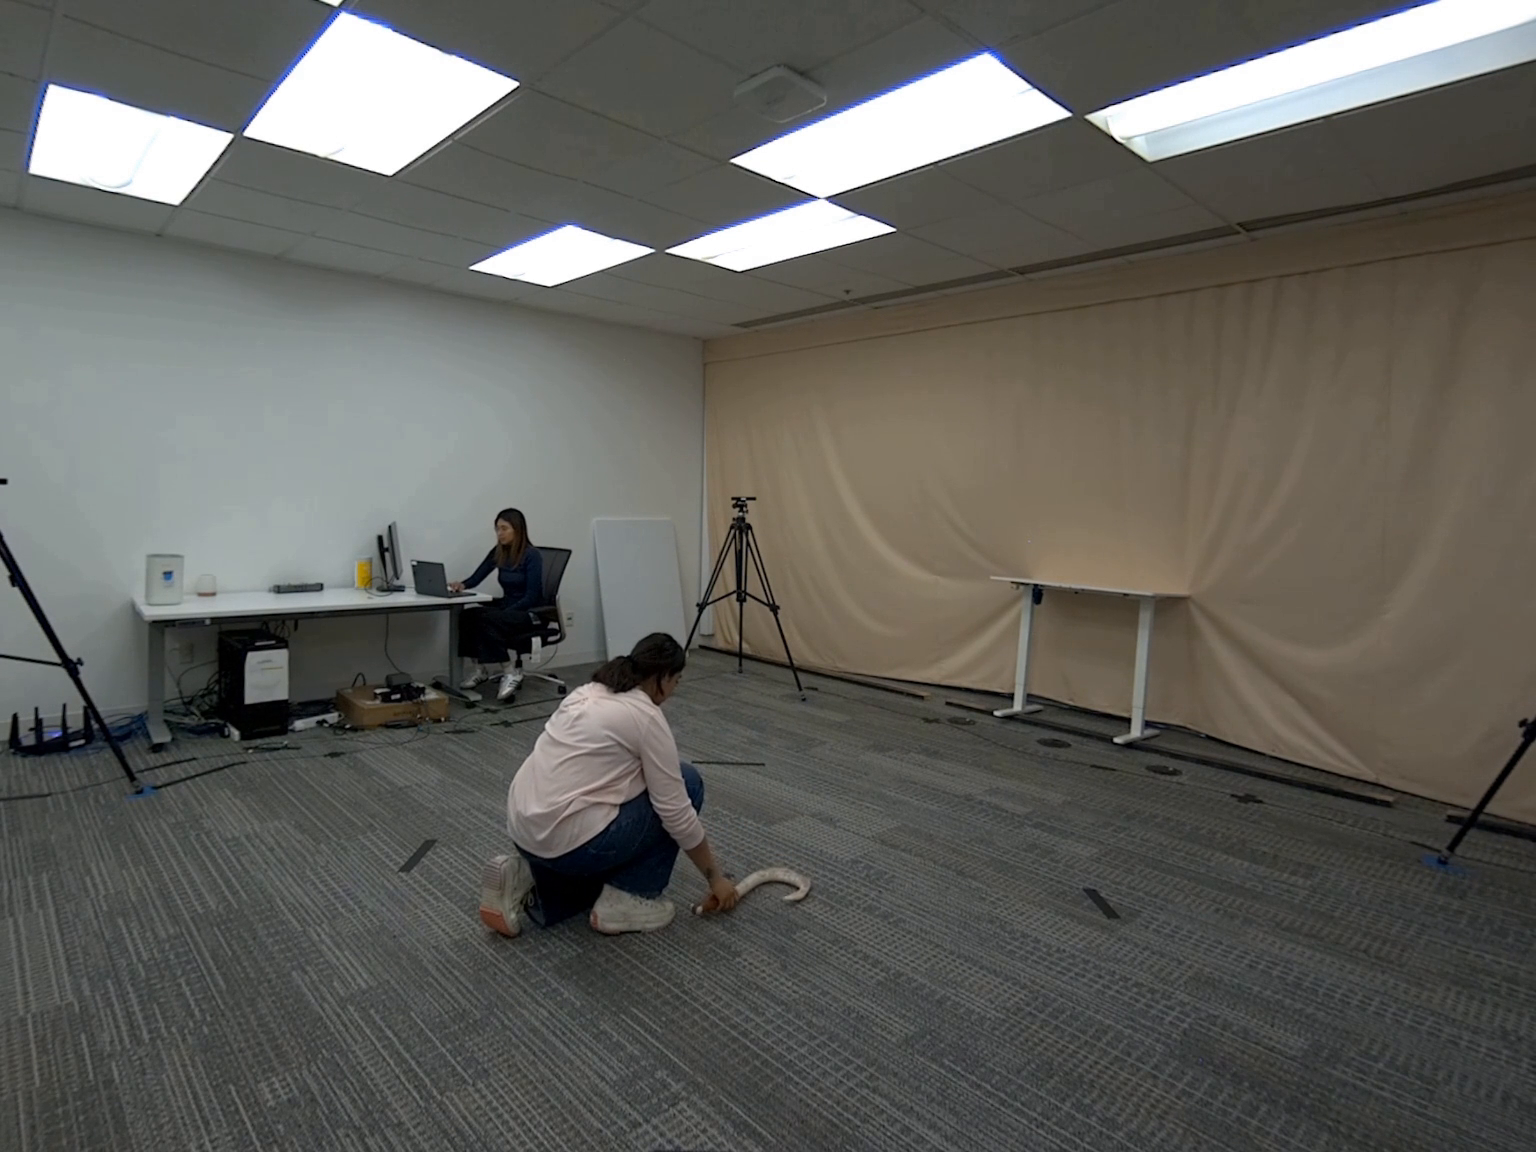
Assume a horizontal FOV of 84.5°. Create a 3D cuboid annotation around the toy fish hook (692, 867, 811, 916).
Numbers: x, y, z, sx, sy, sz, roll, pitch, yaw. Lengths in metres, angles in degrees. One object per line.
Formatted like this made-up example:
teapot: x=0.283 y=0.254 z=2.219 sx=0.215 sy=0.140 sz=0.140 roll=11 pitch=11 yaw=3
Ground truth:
toy fish hook: x=-0.051 y=1.095 z=2.890 sx=0.230 sy=0.048 sz=0.494 roll=3 pitch=2 yaw=42
